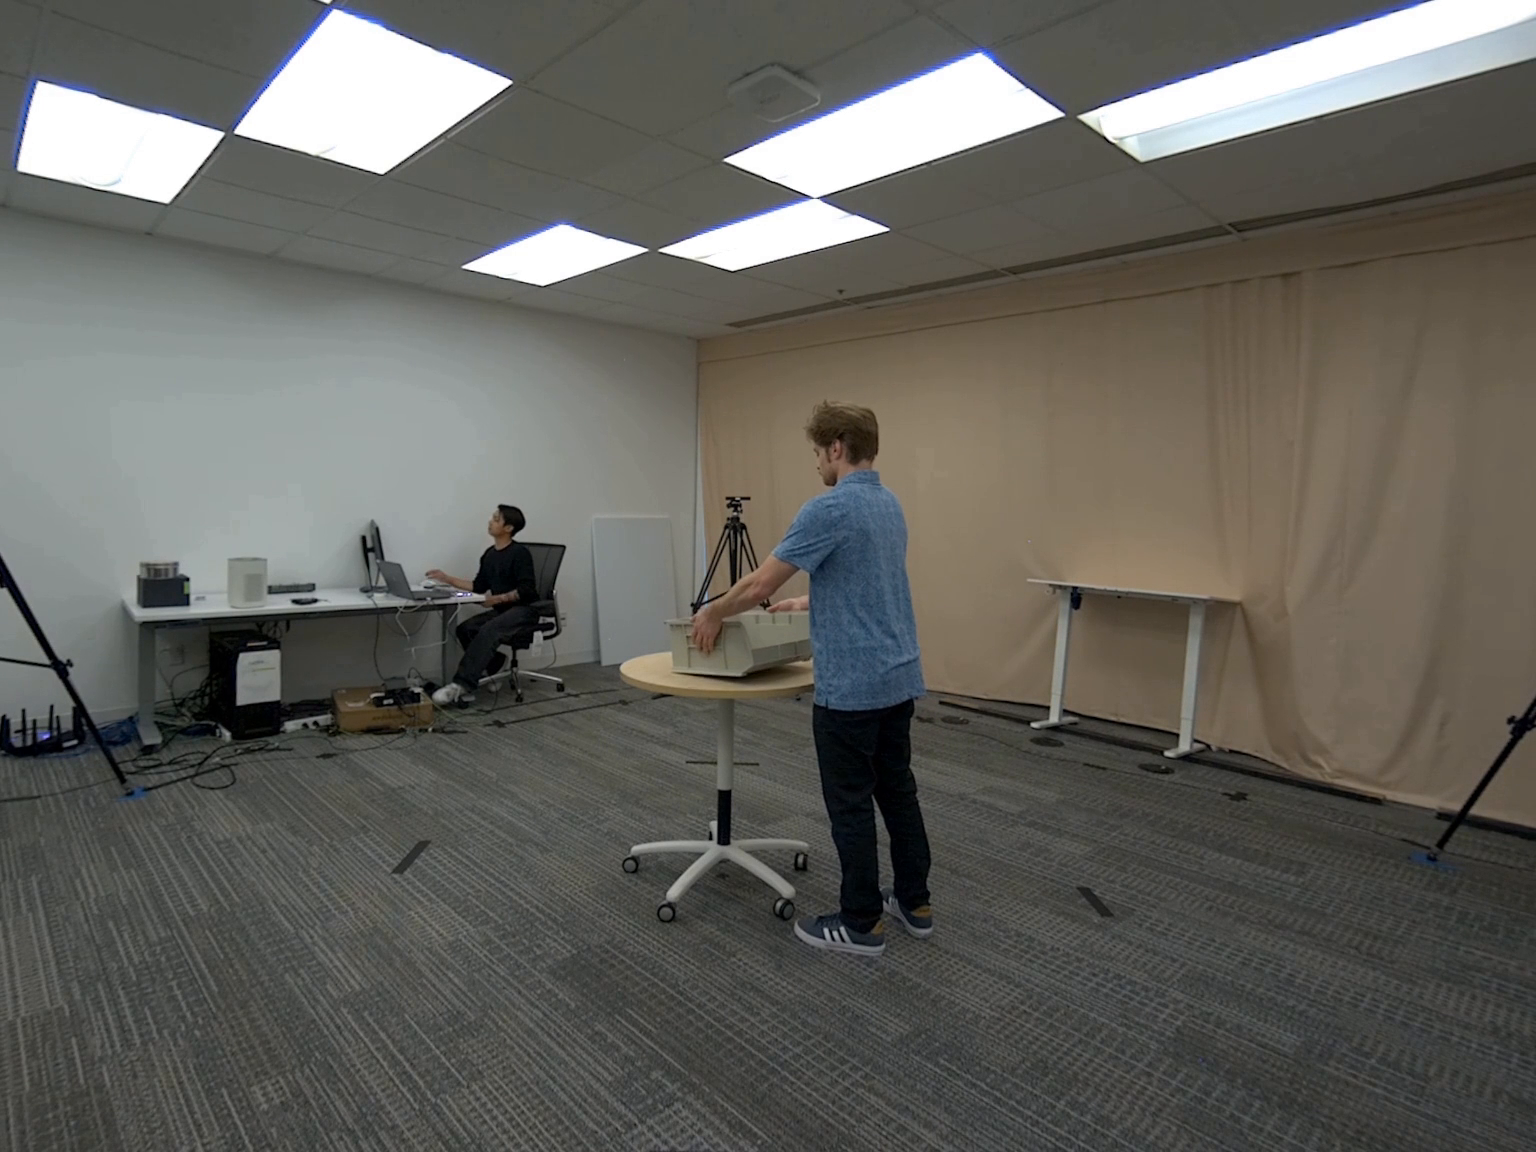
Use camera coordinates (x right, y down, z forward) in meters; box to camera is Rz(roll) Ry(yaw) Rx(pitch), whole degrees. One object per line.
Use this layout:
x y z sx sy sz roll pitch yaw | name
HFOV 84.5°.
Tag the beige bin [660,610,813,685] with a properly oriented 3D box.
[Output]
-0.091 0.238 2.963 0.385 0.189 0.413 -3 2 36 | beige bin
